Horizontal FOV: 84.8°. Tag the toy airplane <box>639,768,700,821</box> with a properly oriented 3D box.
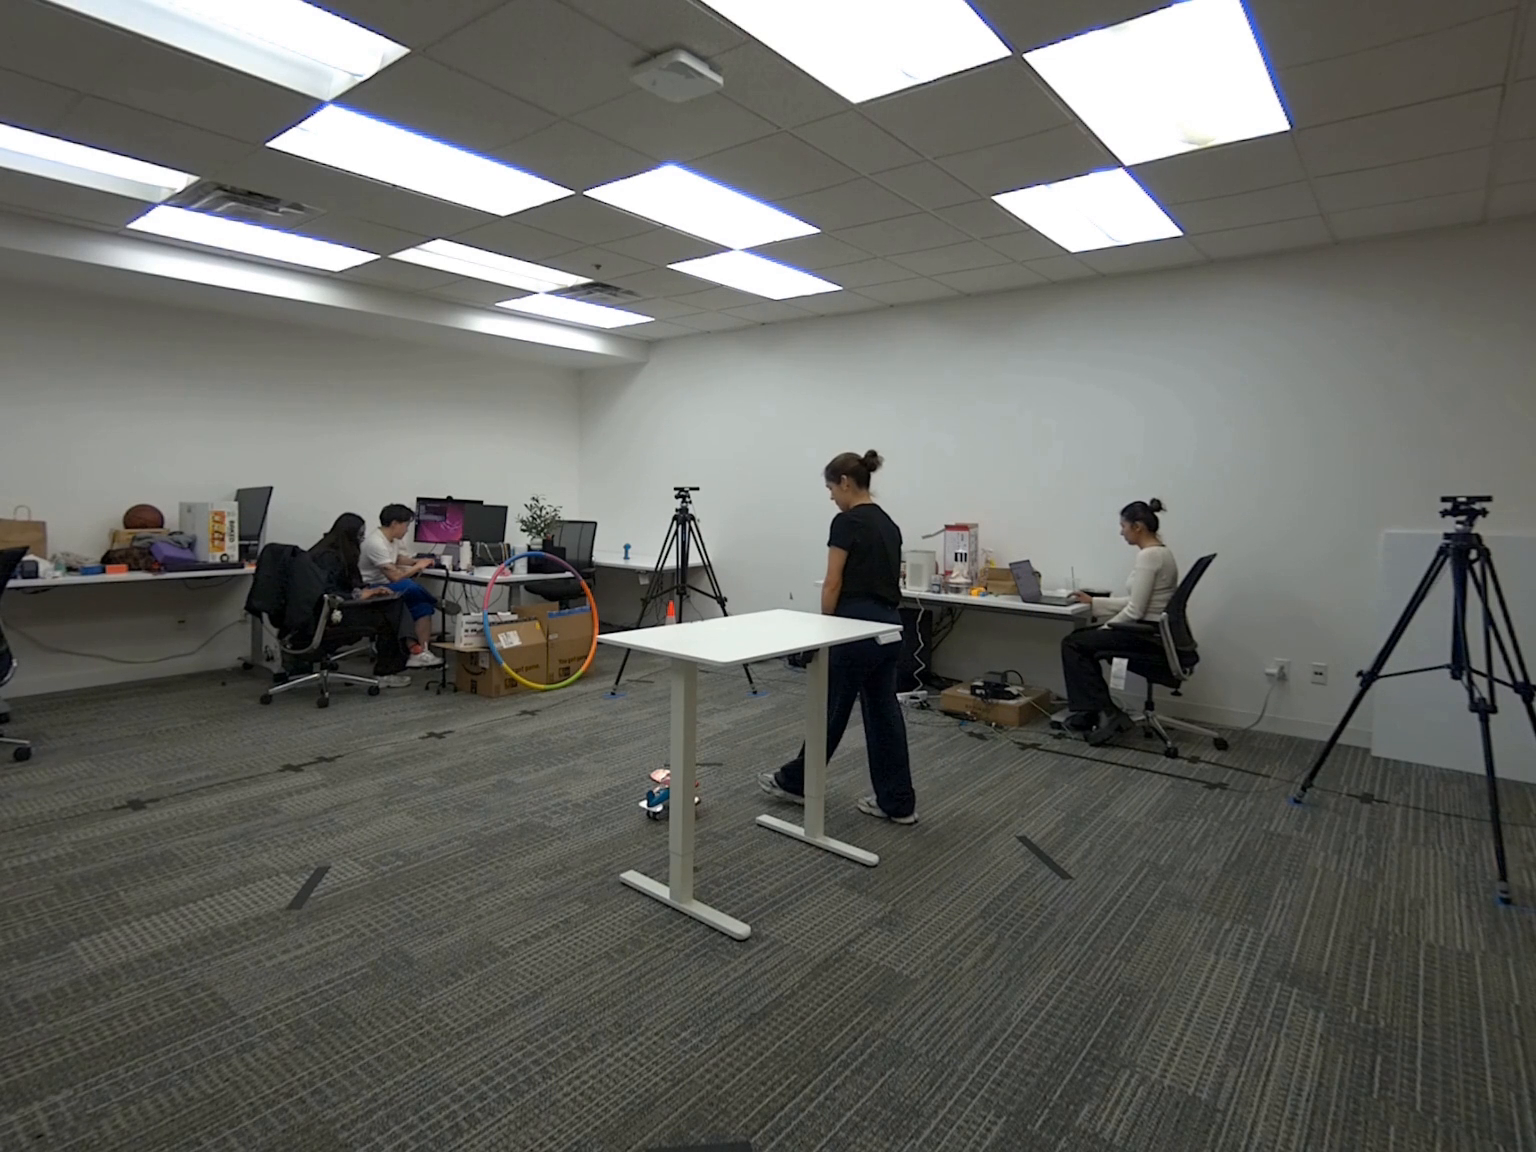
[{"bbox_3d":[-0.389,0.935,3.644,0.255,0.156,0.256,2,4,12],"label":"toy airplane"}]
